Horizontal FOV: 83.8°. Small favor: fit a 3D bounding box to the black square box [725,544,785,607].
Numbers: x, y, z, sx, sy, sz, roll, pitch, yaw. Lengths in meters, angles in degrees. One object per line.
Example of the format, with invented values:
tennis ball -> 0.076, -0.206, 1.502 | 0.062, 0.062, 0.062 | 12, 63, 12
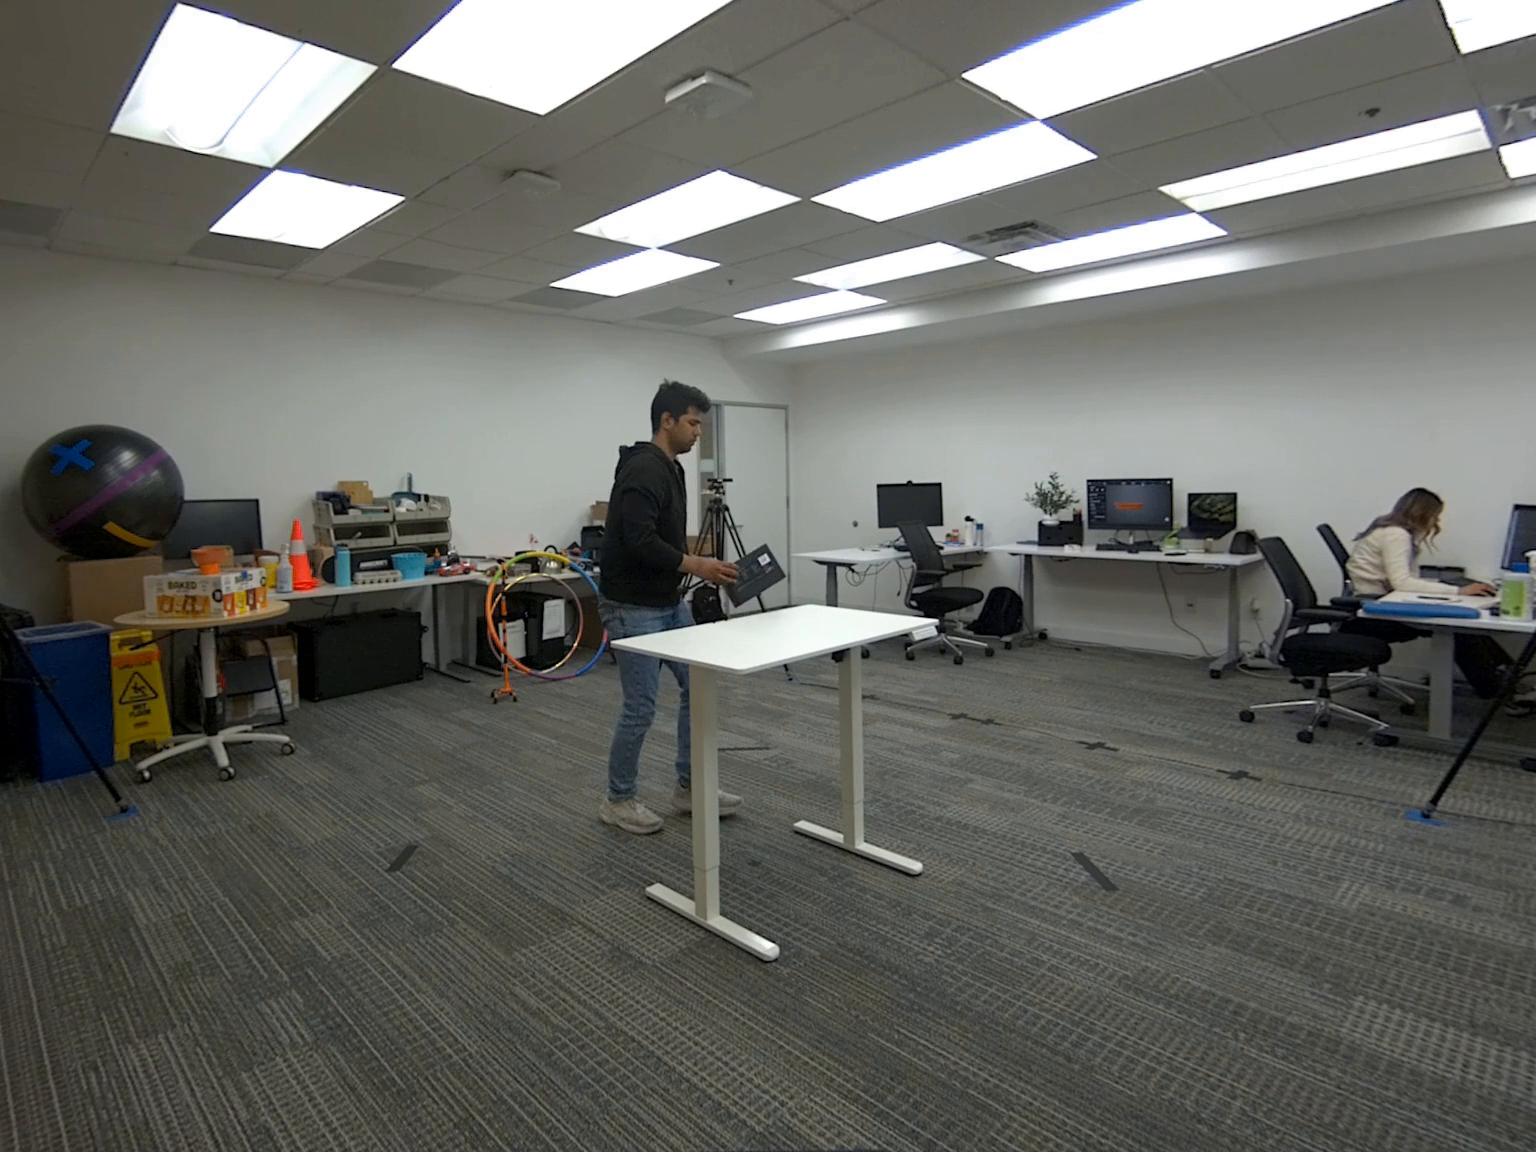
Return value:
black square box -> -0.079, 0.014, 3.468 | 0.216, 0.156, 0.228 | -31, -2, -11
